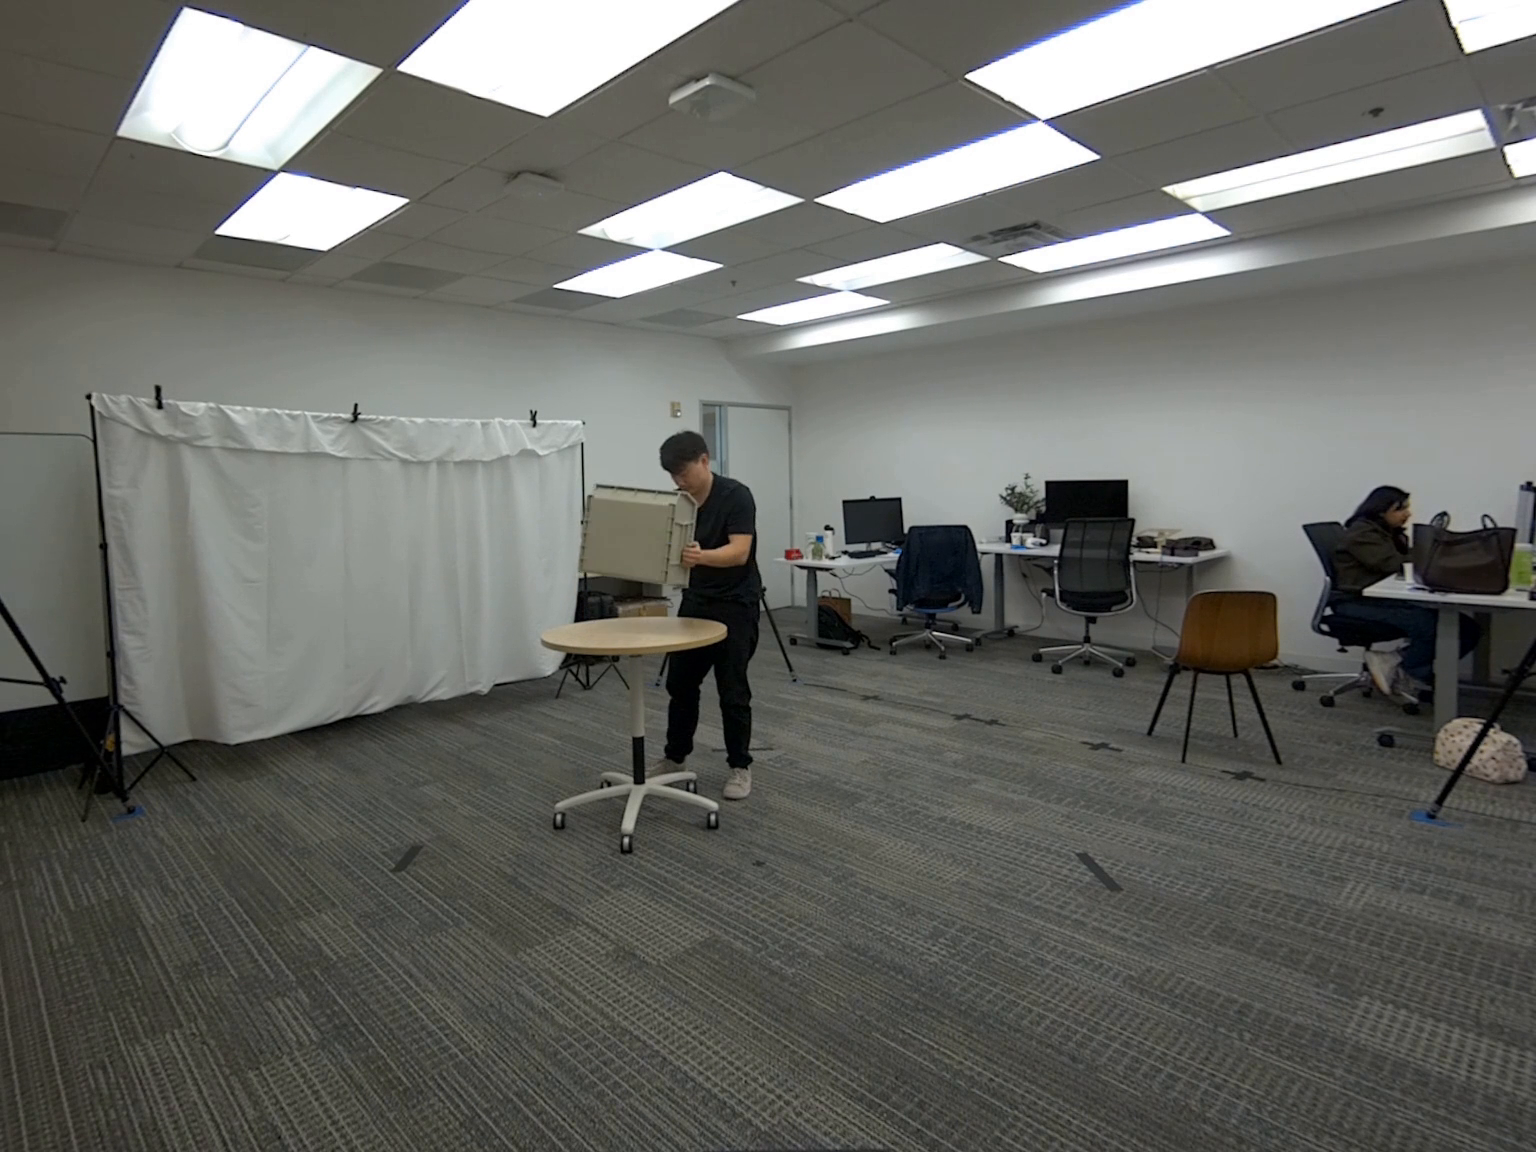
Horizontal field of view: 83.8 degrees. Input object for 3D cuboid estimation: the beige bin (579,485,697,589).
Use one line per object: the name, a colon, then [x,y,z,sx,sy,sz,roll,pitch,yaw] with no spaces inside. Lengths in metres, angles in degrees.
beige bin: [-0.527,-0.163,3.464,0.433,0.377,0.184,7,0,24]
